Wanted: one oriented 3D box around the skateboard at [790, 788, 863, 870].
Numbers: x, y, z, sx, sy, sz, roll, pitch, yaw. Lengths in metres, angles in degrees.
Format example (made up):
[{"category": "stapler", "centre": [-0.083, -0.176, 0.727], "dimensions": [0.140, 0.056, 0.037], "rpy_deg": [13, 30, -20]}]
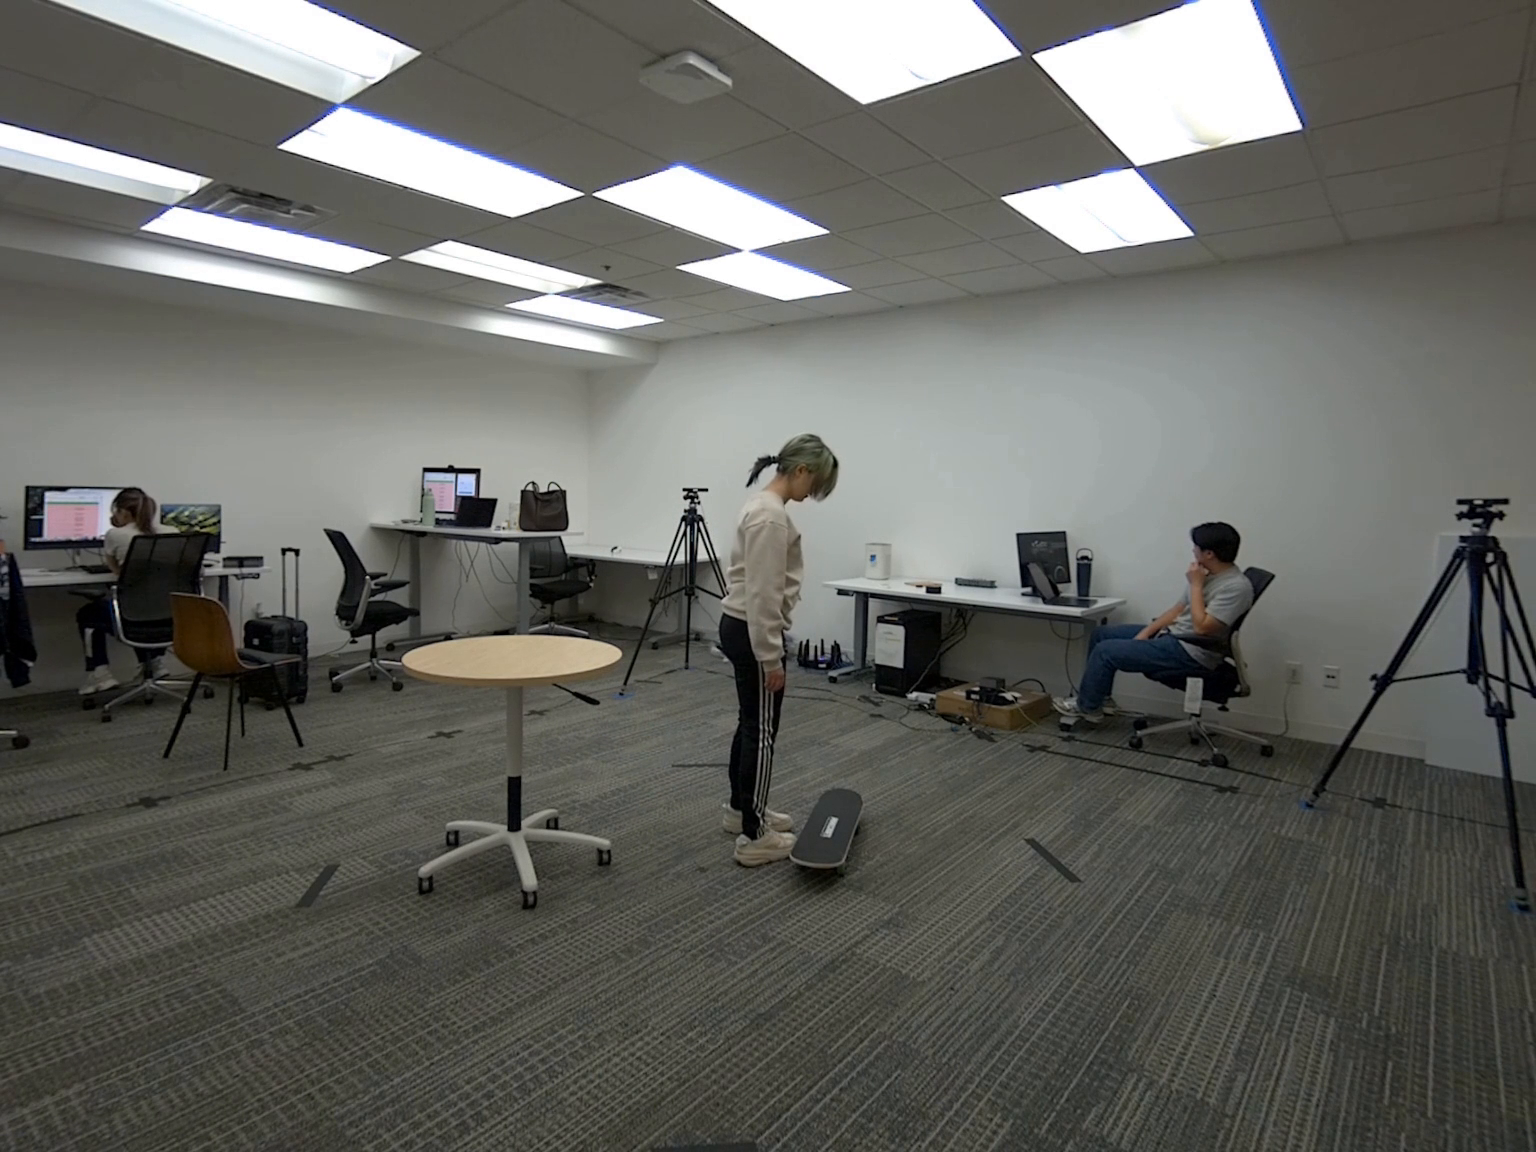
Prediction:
[{"category": "skateboard", "centre": [0.231, 0.999, 3.309], "dimensions": [0.197, 0.110, 0.775], "rpy_deg": [2, 6, 14]}]
